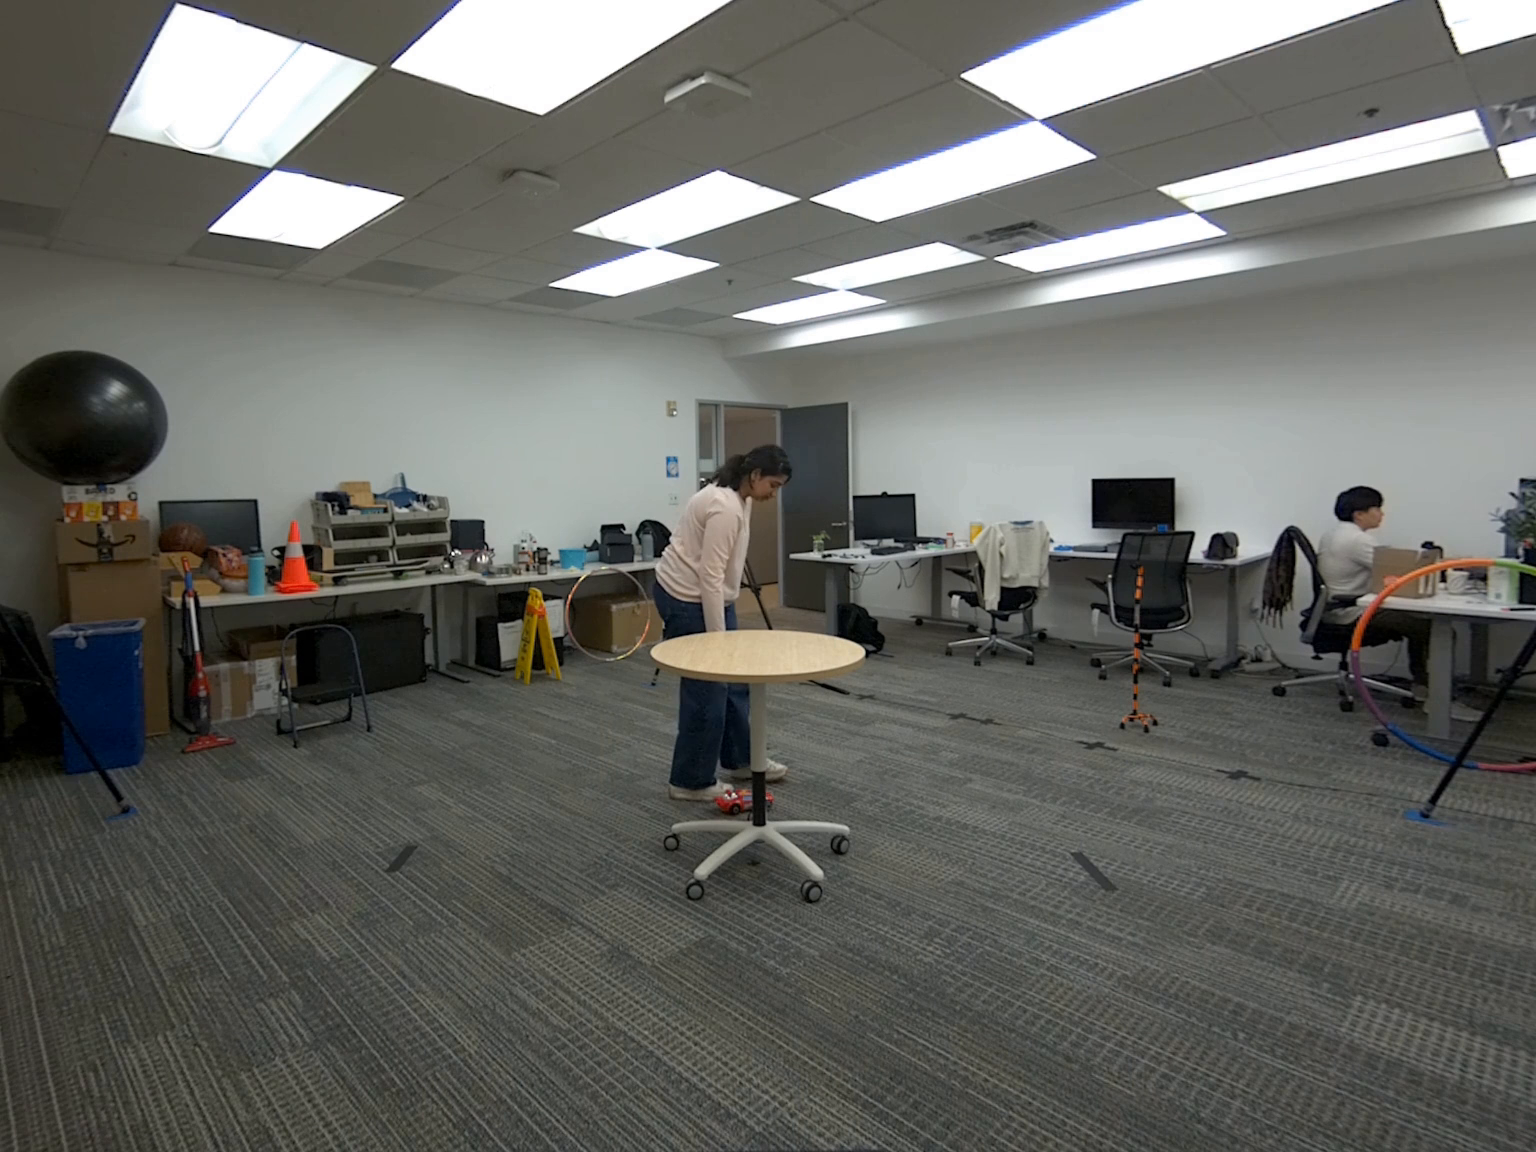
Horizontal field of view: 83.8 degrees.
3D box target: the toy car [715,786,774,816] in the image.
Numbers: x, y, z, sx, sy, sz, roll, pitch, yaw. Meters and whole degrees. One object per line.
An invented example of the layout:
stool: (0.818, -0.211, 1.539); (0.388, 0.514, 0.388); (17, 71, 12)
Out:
toy car: (-0.112, 0.958, 3.625); (0.250, 0.083, 0.133); (9, 1, -18)
